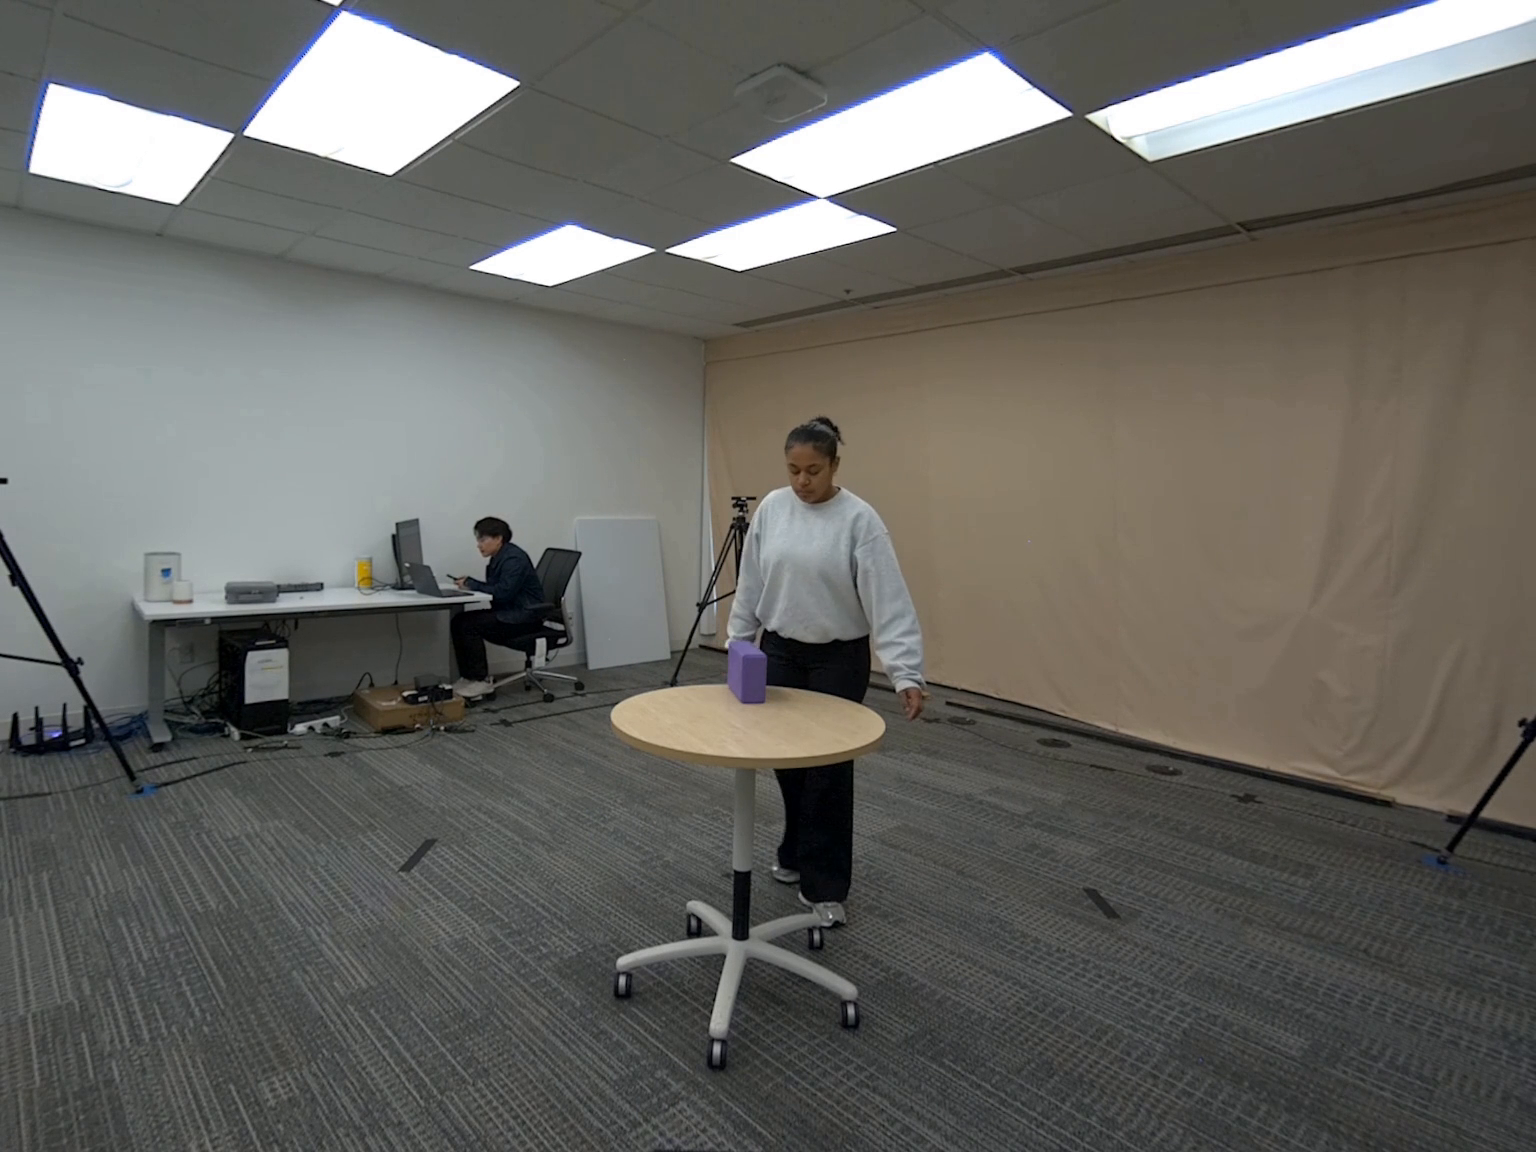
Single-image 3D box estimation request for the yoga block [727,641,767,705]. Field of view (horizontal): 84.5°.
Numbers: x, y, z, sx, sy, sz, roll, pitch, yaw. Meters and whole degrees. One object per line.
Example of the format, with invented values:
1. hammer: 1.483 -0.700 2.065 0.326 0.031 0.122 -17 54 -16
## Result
1. yoga block: -0.073 0.294 2.603 0.076 0.148 0.232 -2 5 -11
